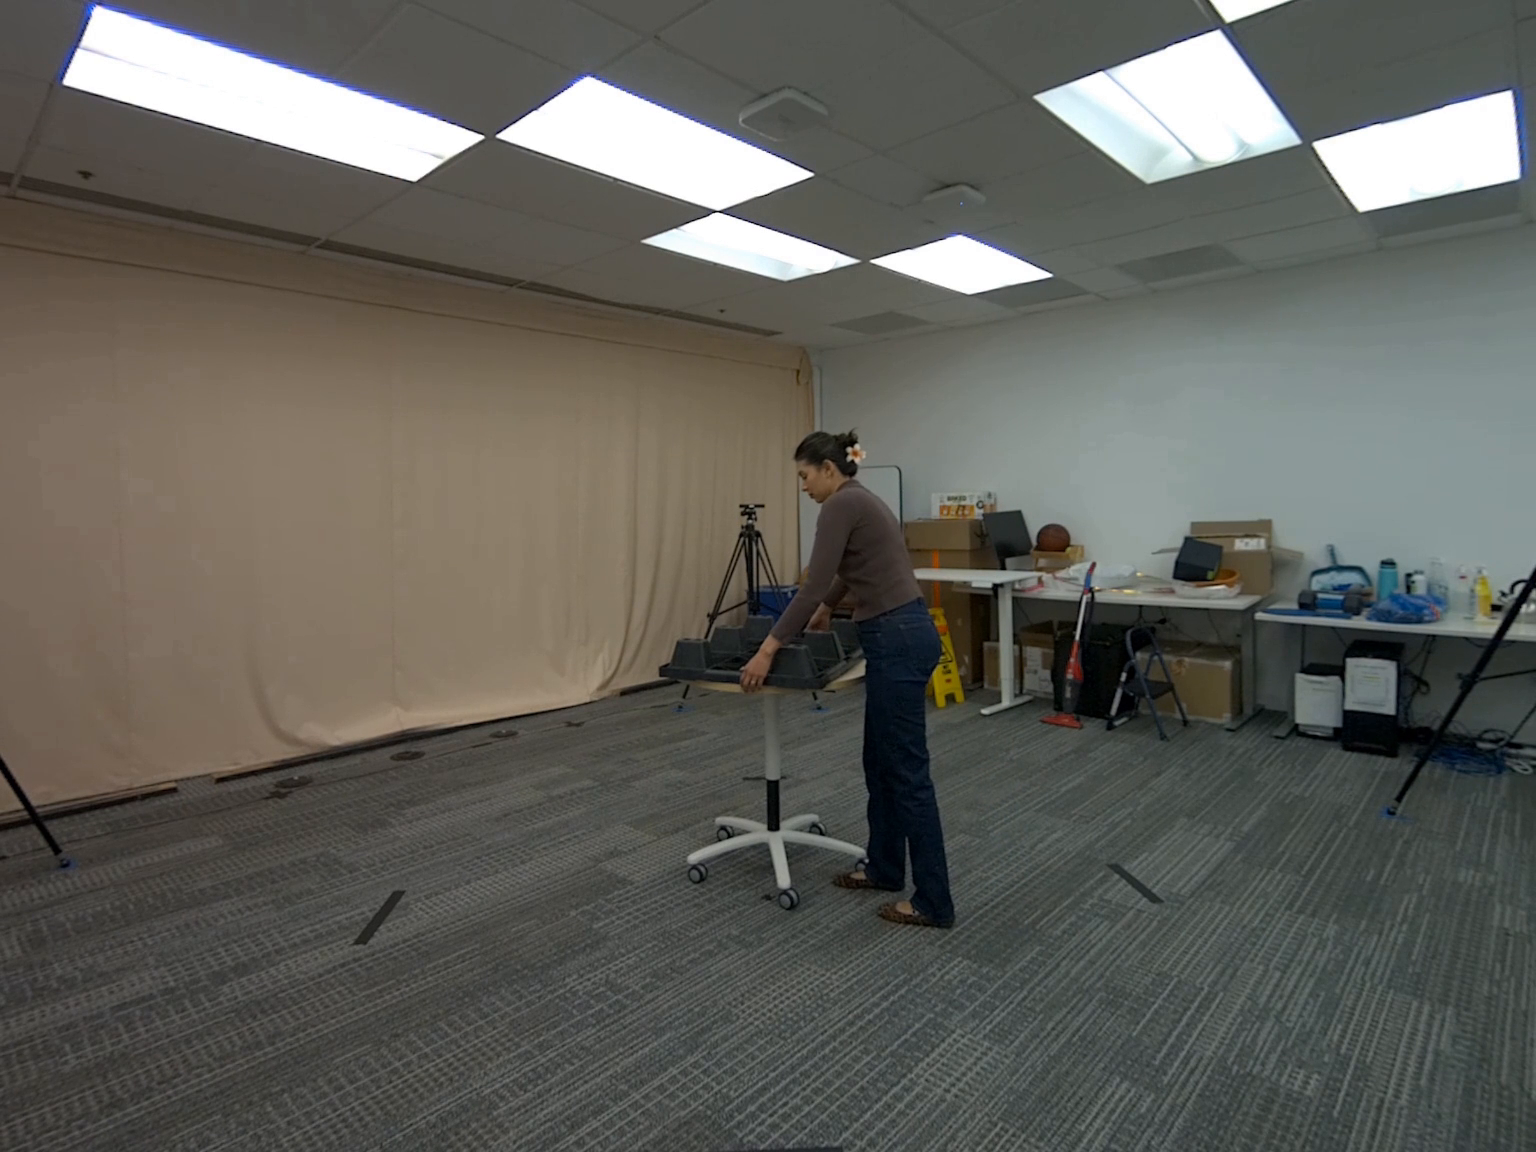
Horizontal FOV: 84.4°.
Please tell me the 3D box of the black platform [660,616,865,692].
[{"bbox_3d":[0.030,0.275,3.210,0.619,0.143,0.789,1,5,22],"label":"black platform"}]
